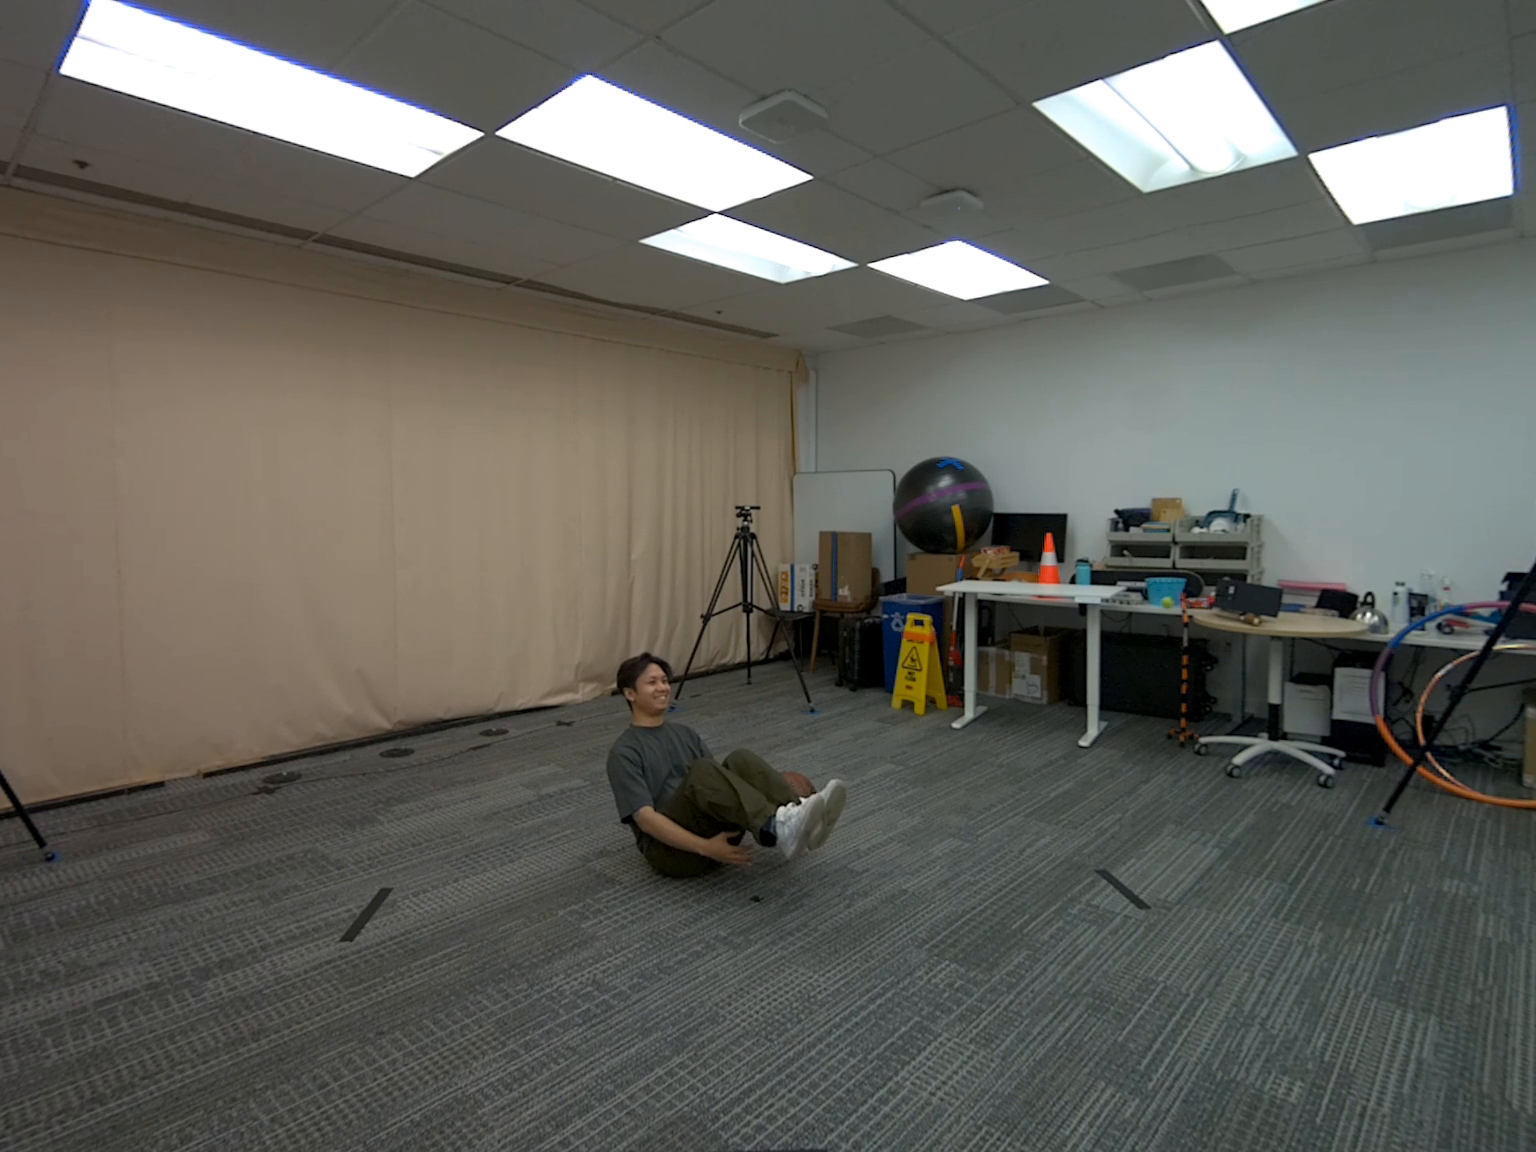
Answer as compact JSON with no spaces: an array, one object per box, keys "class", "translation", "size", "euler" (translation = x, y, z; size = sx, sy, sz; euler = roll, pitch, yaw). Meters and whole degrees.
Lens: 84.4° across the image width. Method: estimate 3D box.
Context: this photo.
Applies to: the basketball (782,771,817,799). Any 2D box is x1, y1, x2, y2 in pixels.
[{"class":"basketball","translation":[0.084,0.865,3.231],"size":[0.236,0.235,0.237],"euler":[0,4,-2]}]
